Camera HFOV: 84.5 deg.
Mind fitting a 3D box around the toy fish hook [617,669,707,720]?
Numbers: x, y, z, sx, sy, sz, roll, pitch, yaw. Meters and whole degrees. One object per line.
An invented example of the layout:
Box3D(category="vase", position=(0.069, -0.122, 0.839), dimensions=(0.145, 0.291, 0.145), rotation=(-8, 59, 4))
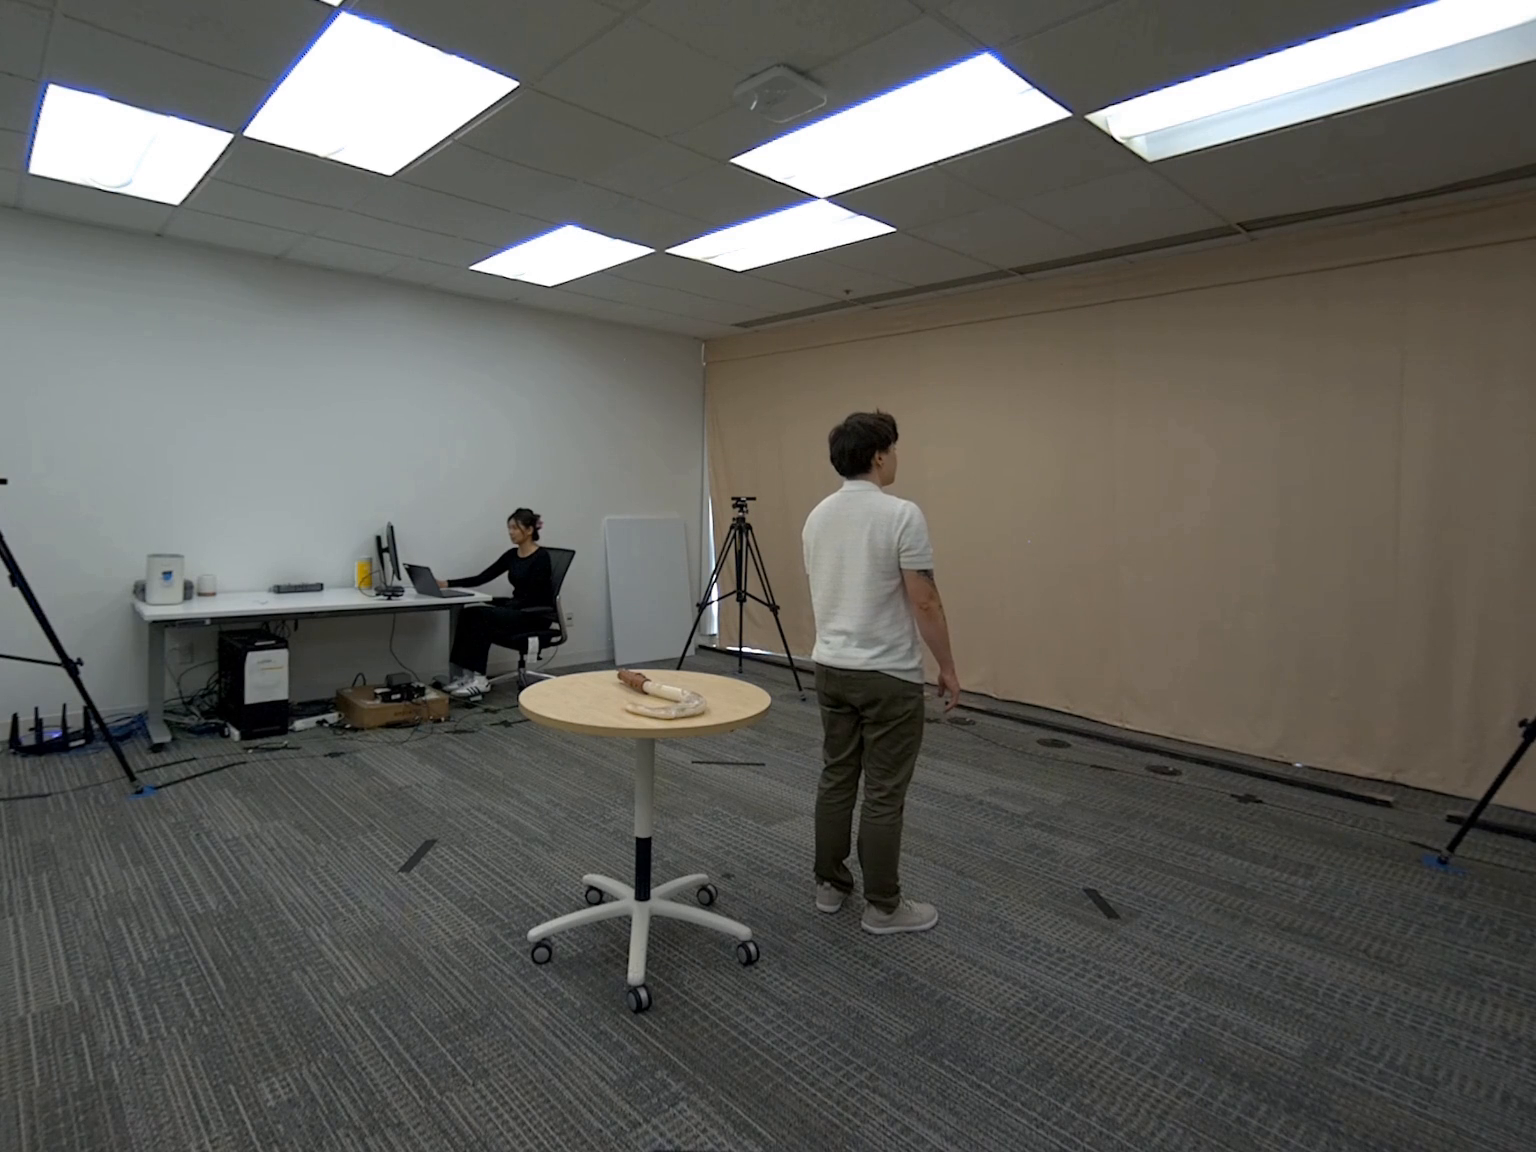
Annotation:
Box3D(category="toy fish hook", position=(-0.374, 0.353, 2.521), dimensions=(0.220, 0.048, 0.519), rotation=(-1, 6, -34))
